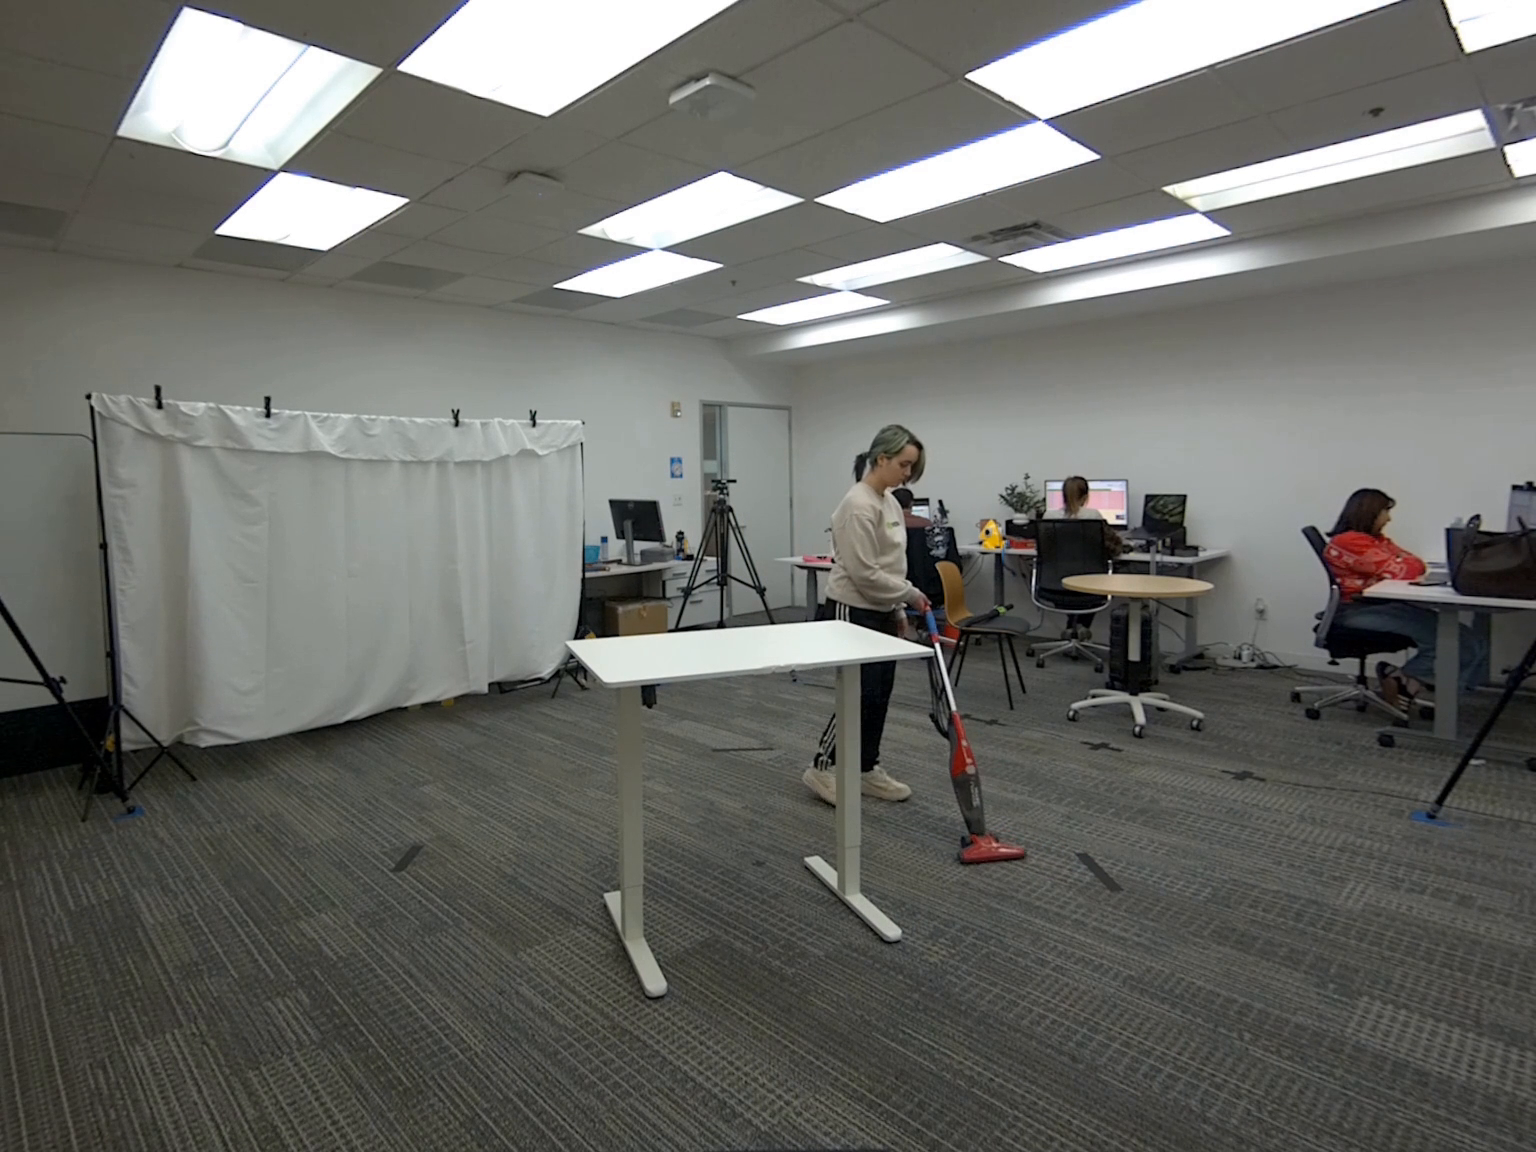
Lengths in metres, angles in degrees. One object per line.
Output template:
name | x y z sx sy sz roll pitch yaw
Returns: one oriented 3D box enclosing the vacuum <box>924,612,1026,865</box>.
vacuum | 0.732 0.578 3.417 0.249 1.080 0.142 -1 -34 -16
